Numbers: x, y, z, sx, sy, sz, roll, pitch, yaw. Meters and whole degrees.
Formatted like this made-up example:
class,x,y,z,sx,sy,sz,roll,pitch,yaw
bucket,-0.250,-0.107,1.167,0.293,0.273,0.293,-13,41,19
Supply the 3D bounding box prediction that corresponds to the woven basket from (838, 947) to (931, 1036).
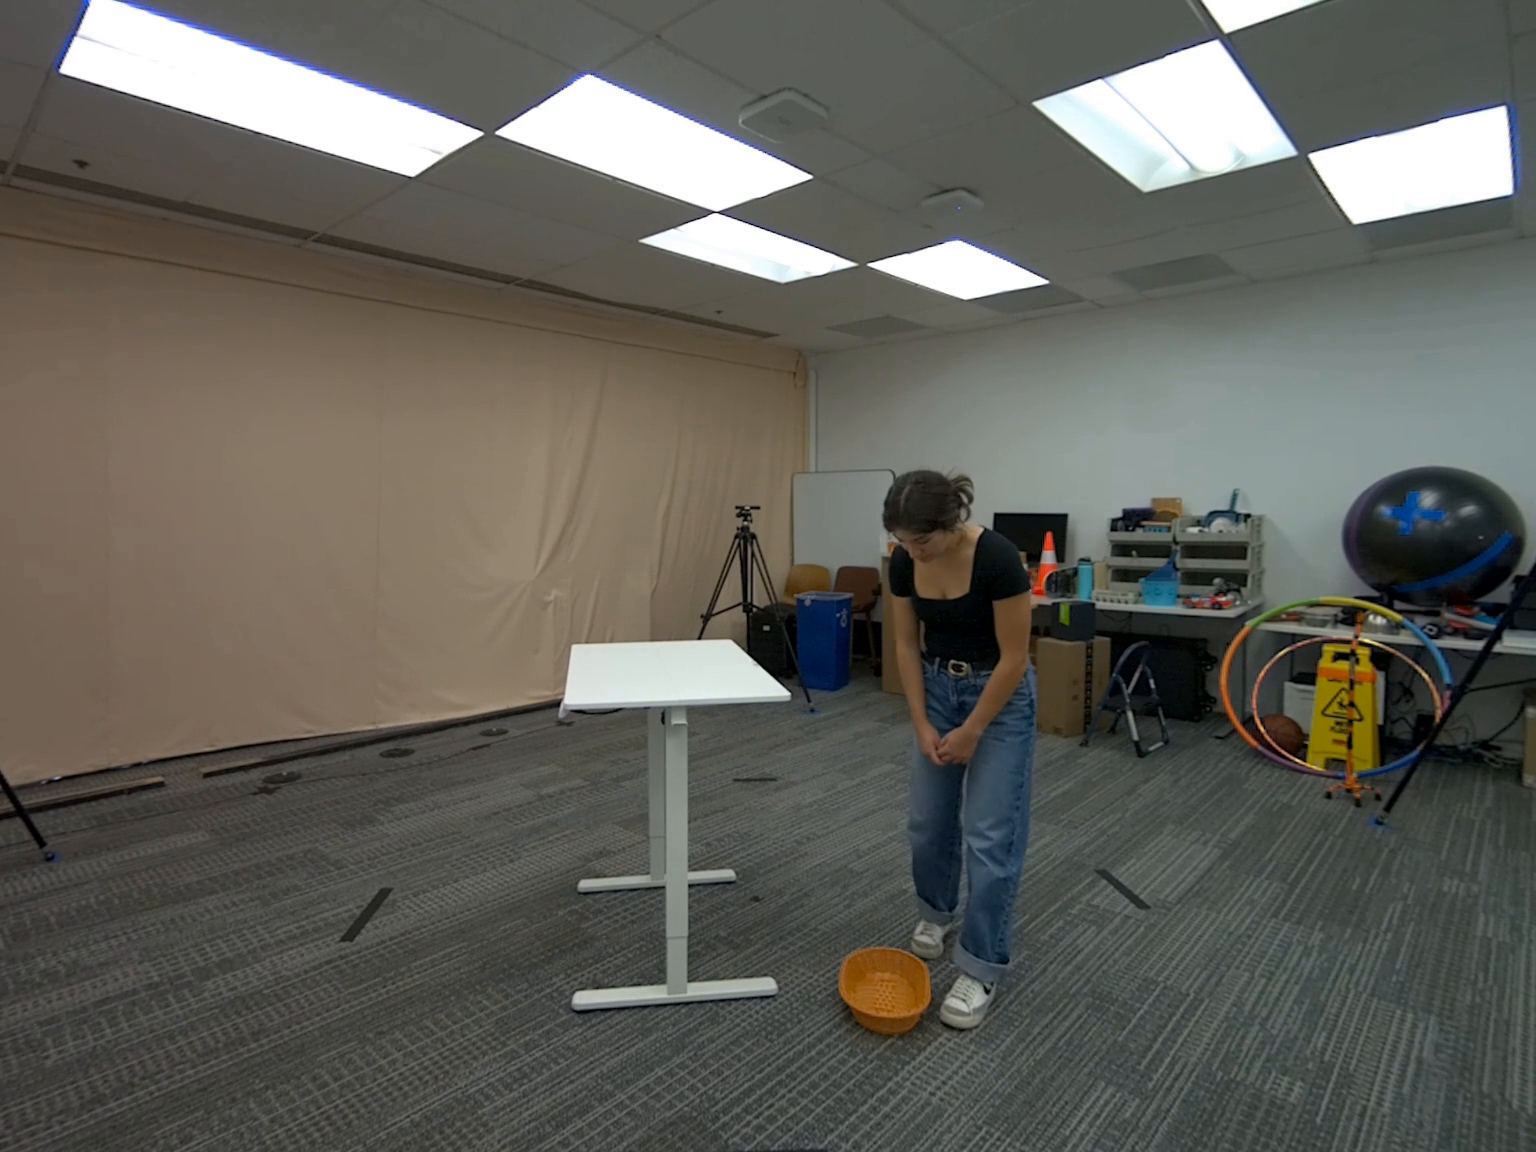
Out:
class,x,y,z,sx,sy,sz,roll,pitch,yaw
woven basket,0.327,1.157,2.357,0.255,0.073,0.347,-1,5,9
